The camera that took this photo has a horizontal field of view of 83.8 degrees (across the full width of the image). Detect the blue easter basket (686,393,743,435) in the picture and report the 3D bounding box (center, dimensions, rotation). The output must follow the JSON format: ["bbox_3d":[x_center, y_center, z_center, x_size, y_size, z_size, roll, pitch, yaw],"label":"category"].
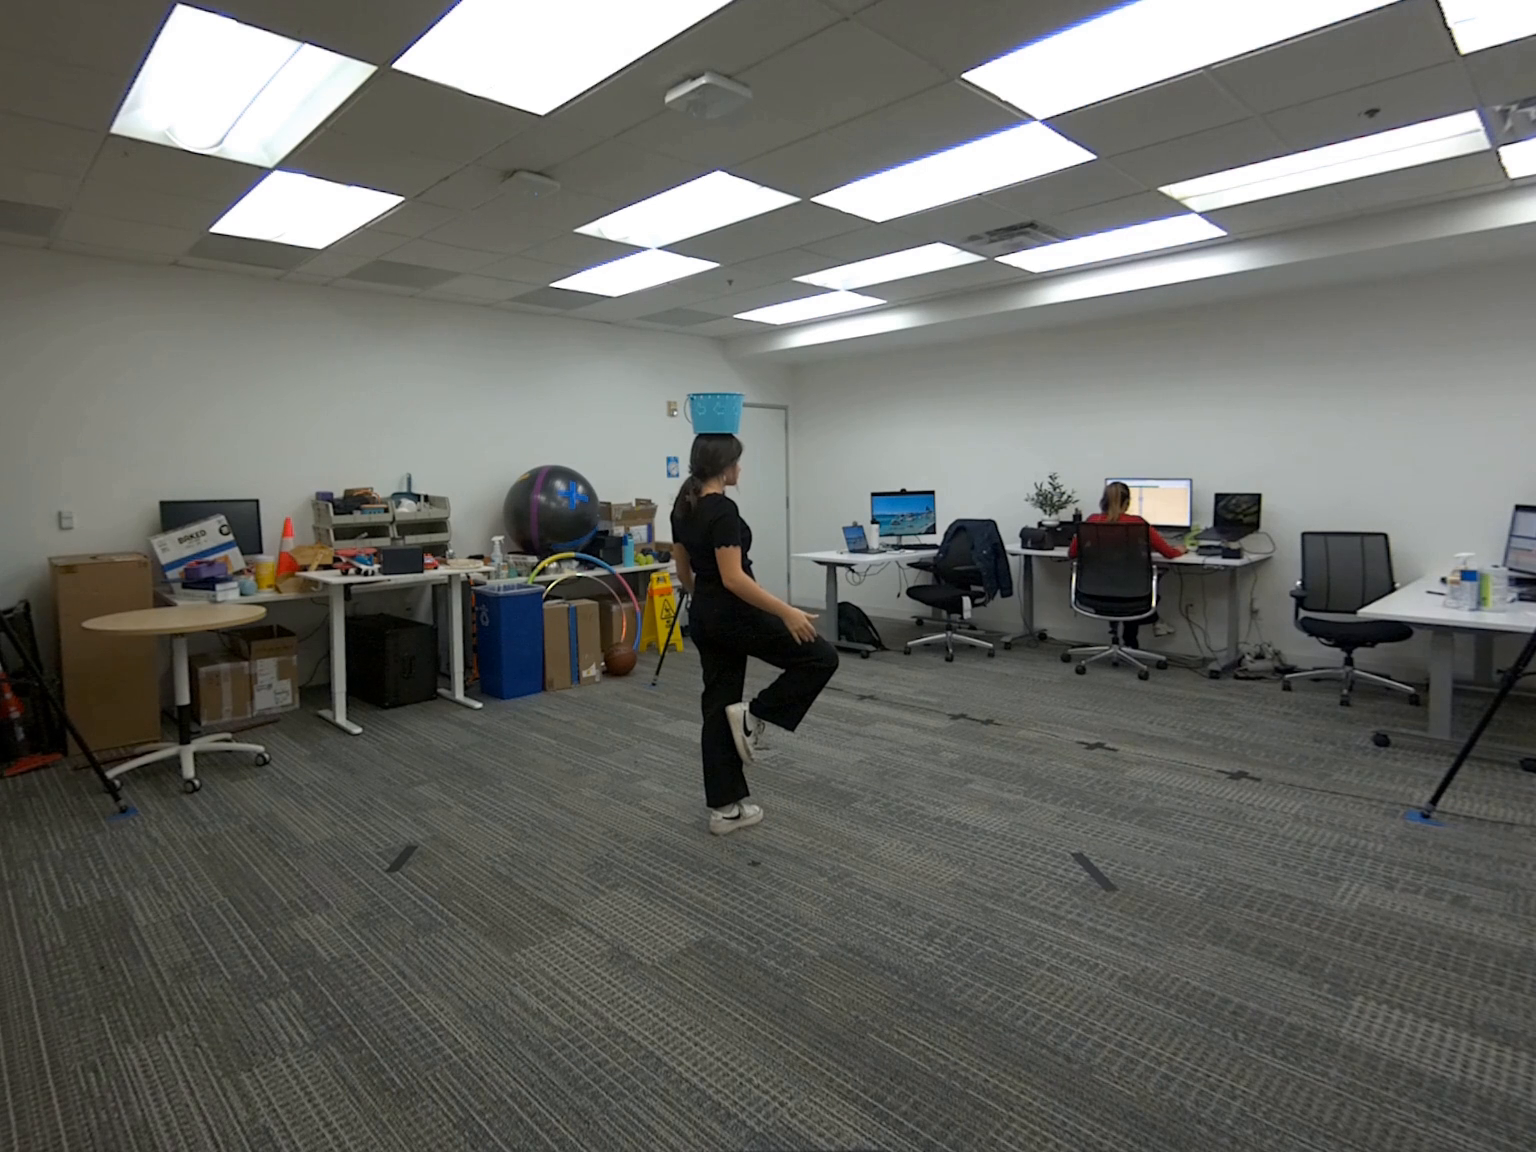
[{"bbox_3d":[-0.210,-0.640,3.361,0.243,0.155,0.245,0,7,-2],"label":"blue easter basket"}]
